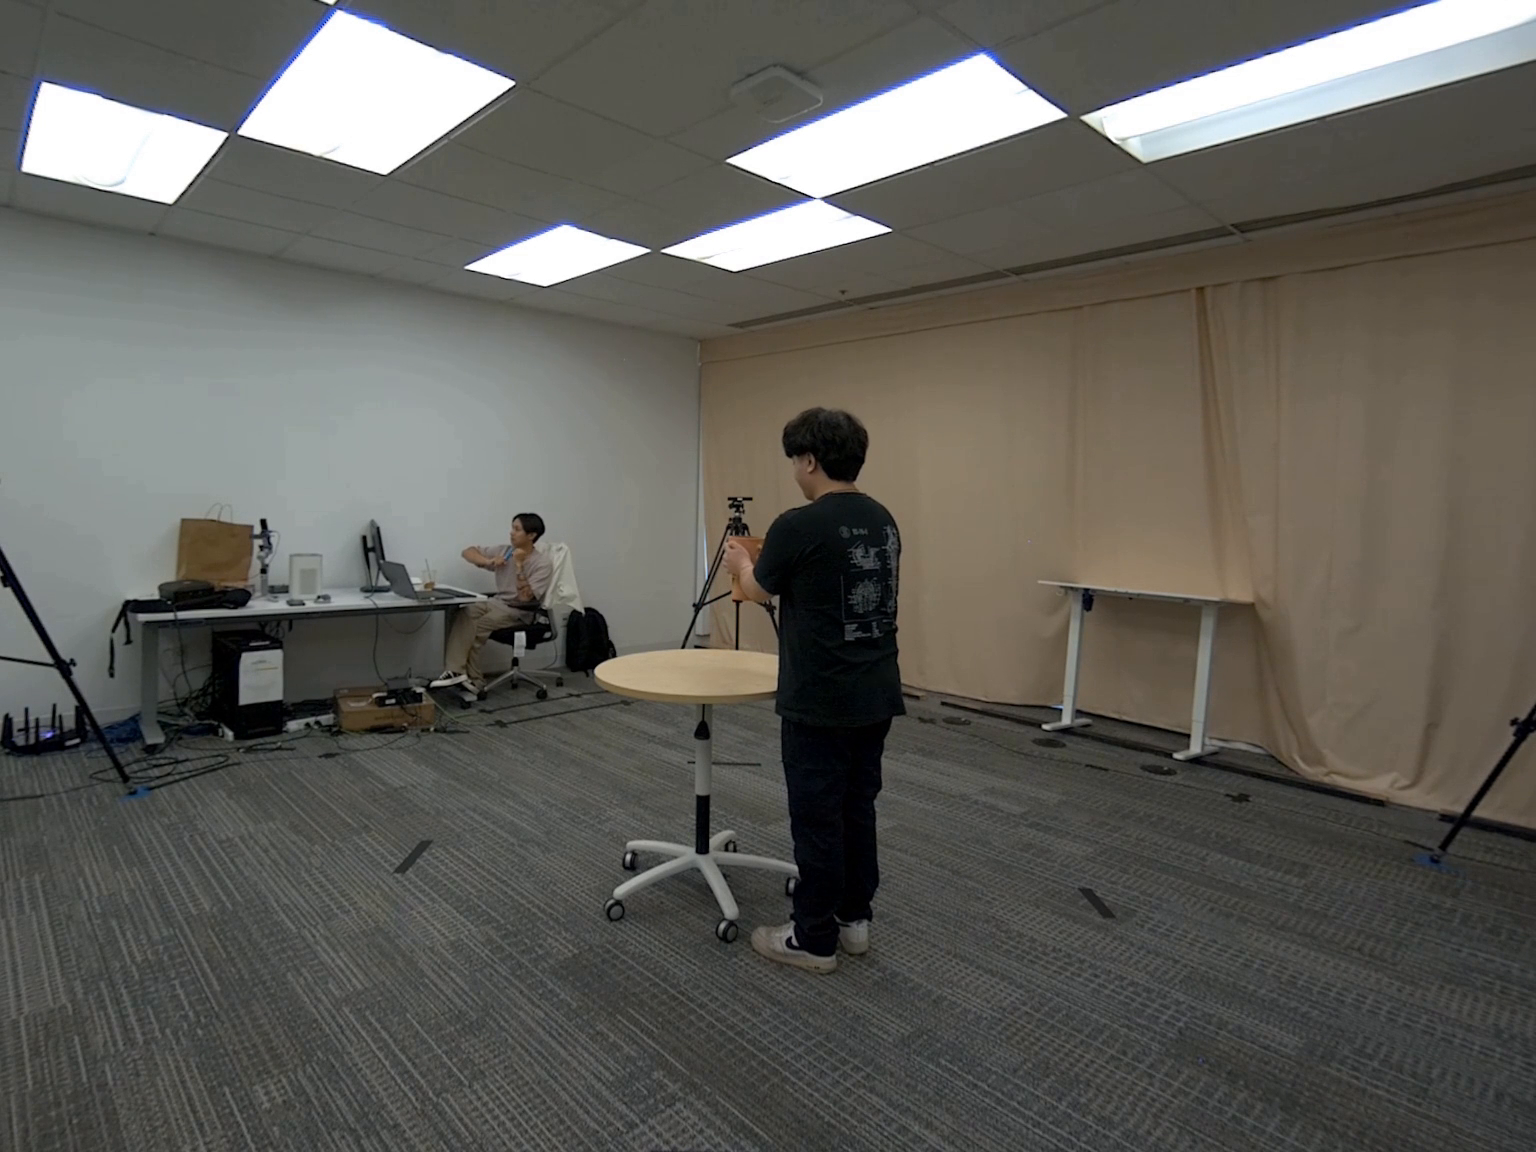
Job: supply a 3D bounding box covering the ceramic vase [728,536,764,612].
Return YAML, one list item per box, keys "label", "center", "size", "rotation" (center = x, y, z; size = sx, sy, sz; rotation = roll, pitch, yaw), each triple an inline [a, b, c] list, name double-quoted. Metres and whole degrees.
- label: "ceramic vase"
  center: [-0.073, -0.019, 2.938]
  size: [0.134, 0.220, 0.159]
  rotation: [1, 1, -4]
